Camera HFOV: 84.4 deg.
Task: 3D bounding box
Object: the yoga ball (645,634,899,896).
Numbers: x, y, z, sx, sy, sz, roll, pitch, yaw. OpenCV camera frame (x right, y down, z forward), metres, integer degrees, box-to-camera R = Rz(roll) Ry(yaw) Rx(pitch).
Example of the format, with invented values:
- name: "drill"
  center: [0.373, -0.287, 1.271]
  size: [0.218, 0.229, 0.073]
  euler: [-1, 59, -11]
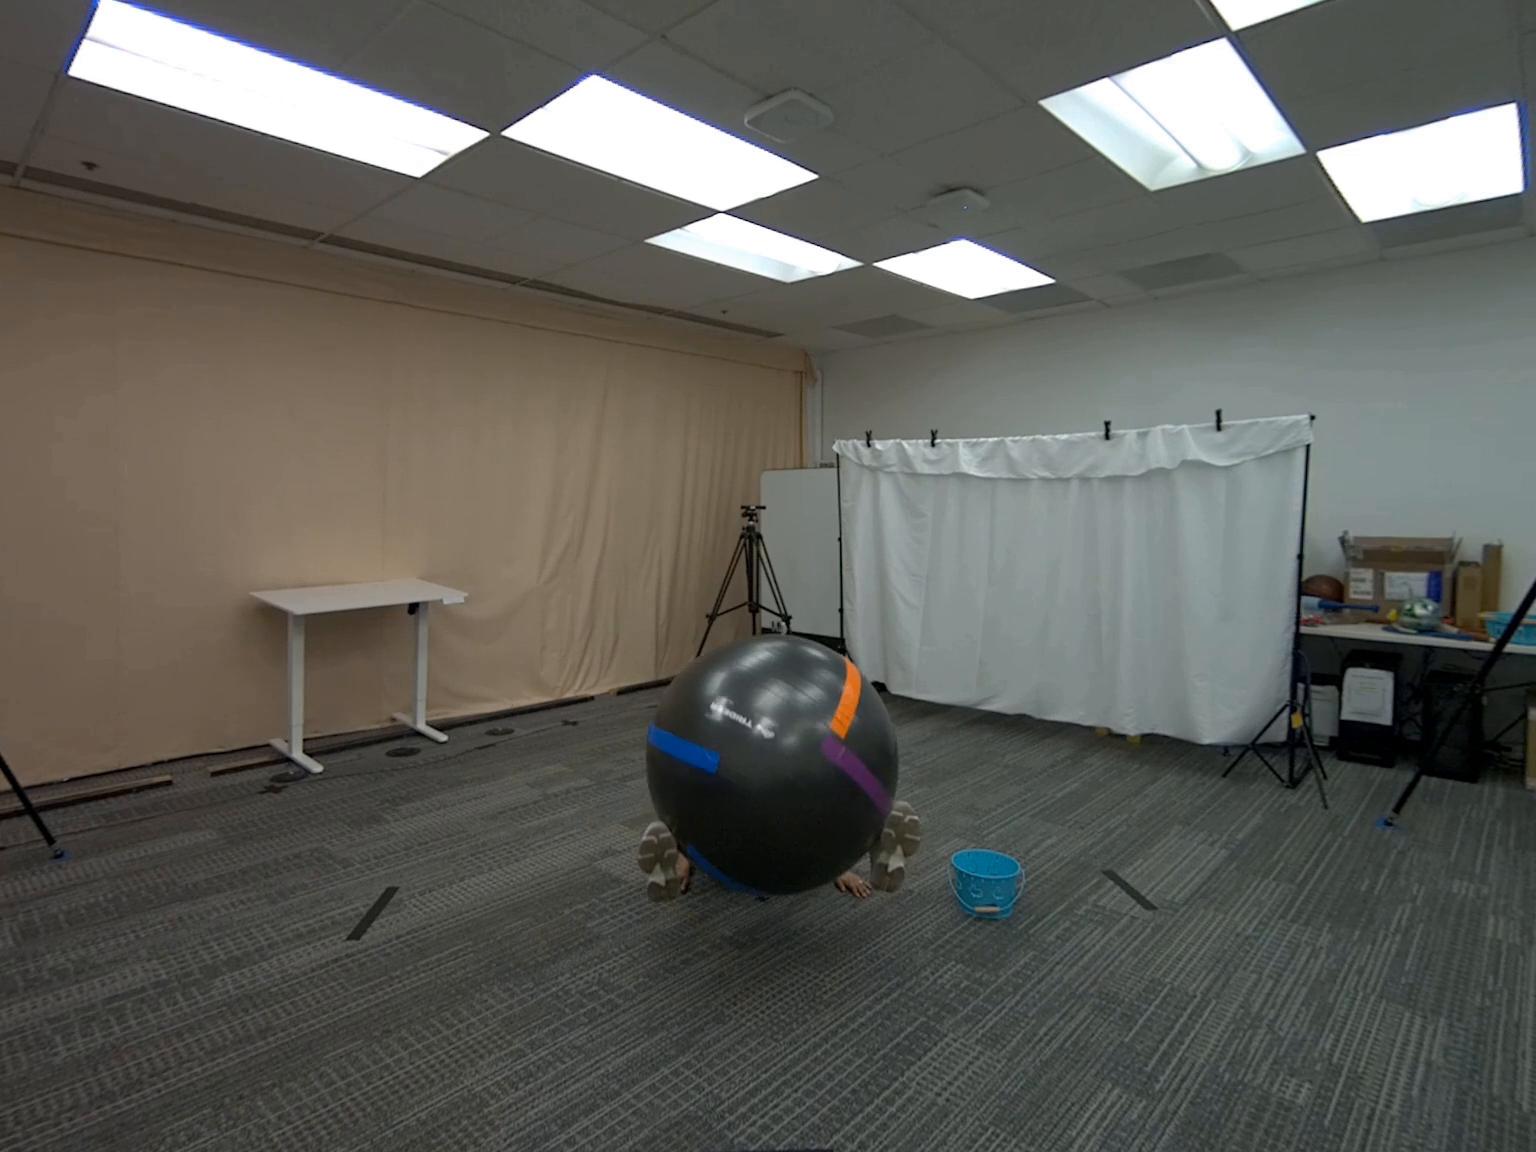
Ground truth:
- name: "yoga ball"
  center: [0.007, 0.554, 2.536]
  size: [0.757, 0.756, 0.760]
  euler: [0, 4, -2]
